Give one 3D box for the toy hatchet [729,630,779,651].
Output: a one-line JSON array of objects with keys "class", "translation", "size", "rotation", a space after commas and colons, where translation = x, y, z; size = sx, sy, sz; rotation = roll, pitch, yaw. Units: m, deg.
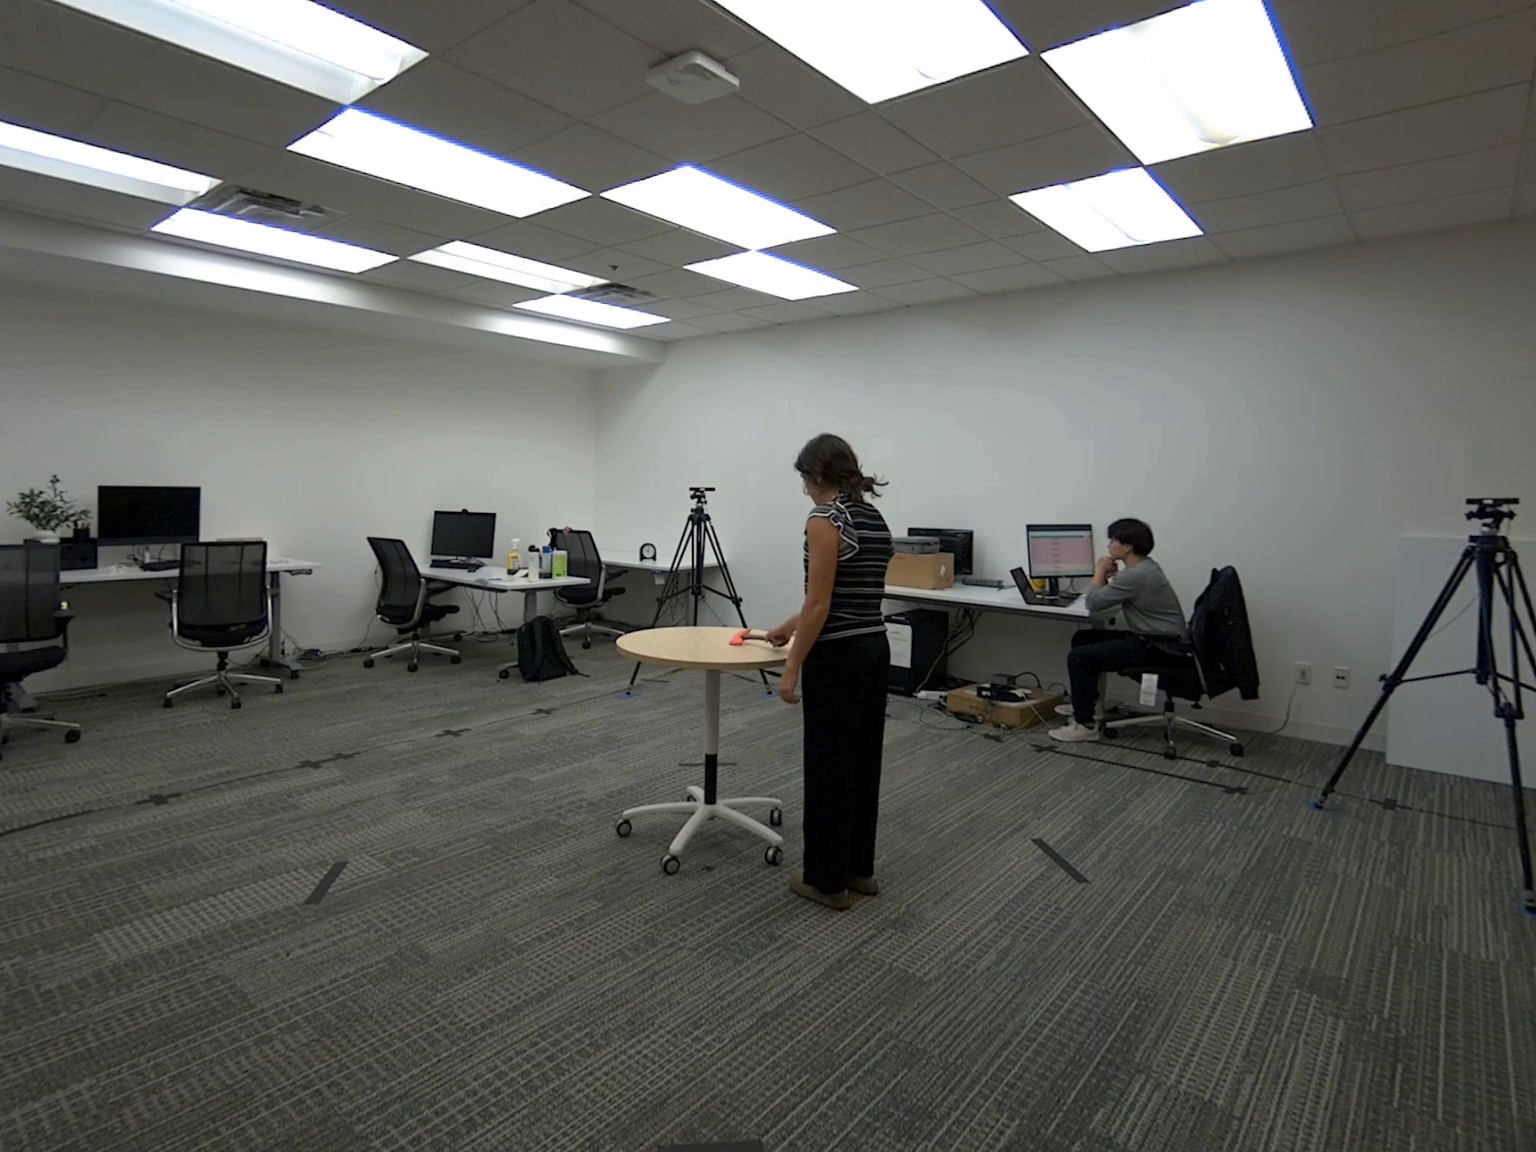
[{"class": "toy hatchet", "translation": [-0.062, 0.247, 3.271], "size": [0.129, 0.029, 0.279], "rotation": [-20, 17, -25]}]
